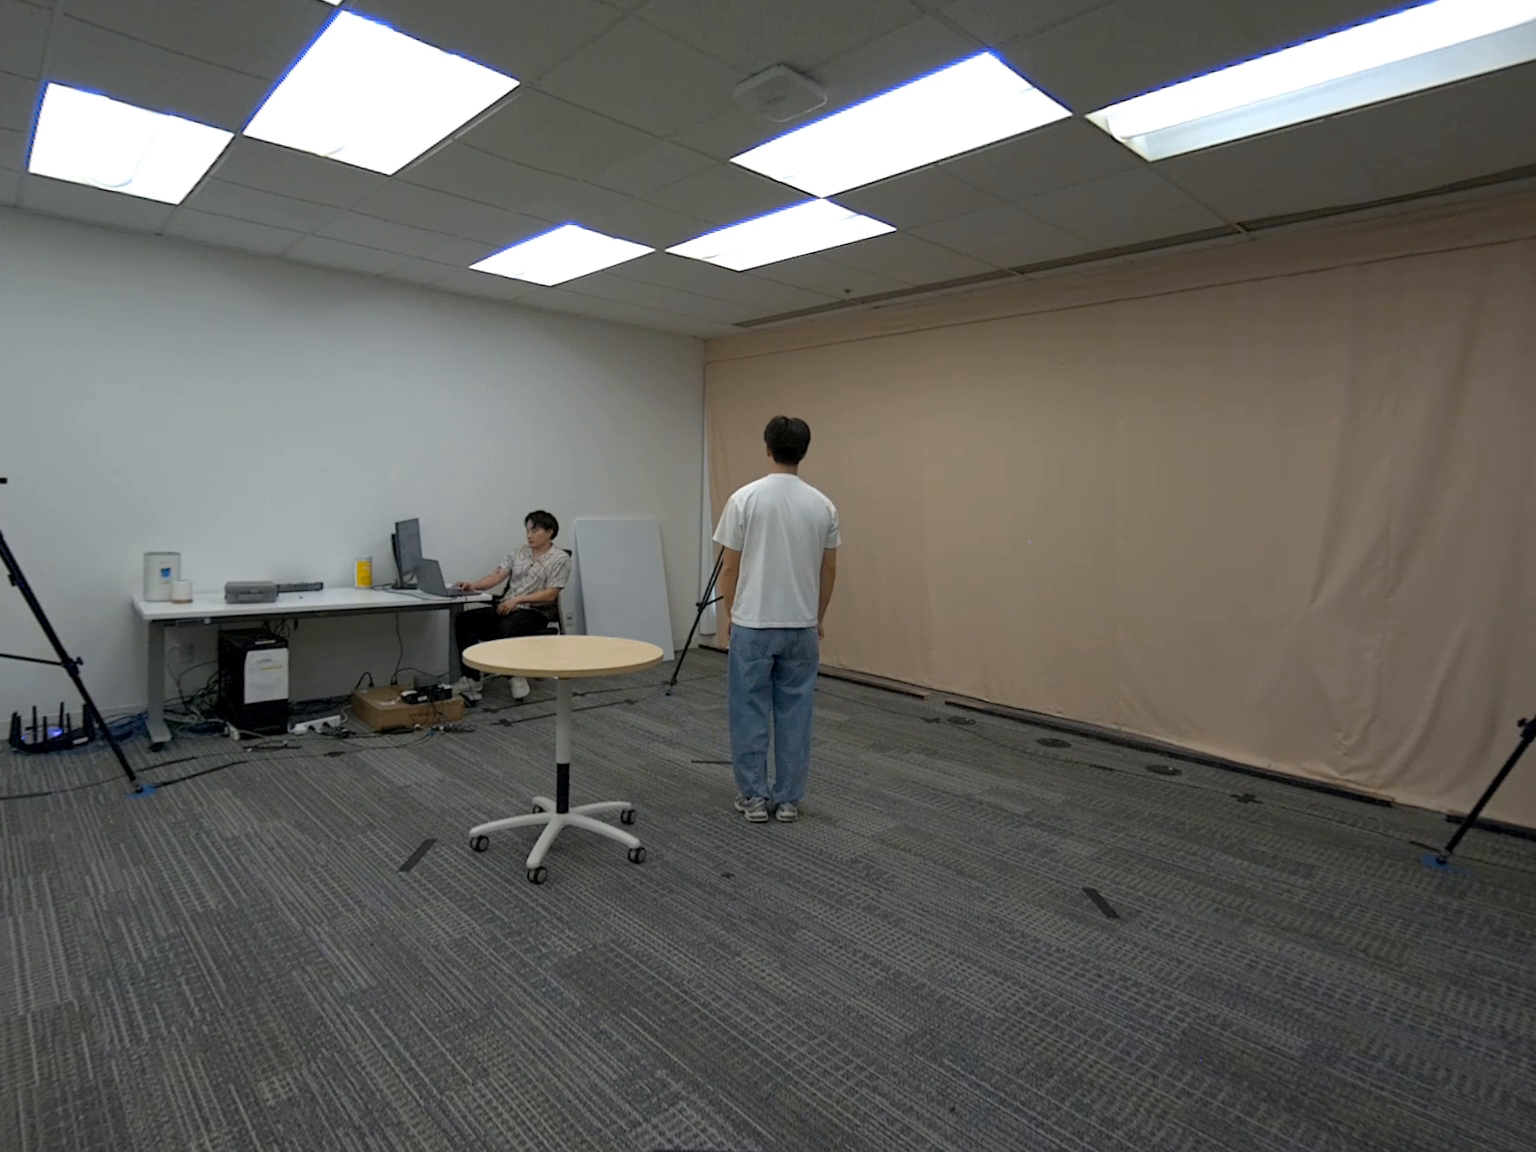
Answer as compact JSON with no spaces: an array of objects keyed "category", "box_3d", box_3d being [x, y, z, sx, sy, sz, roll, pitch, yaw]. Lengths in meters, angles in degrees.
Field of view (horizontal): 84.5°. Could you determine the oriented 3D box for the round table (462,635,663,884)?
[{"category":"round table","box_3d":[-0.803,0.685,3.311,0.763,0.792,0.766,1,4,-1]}]
